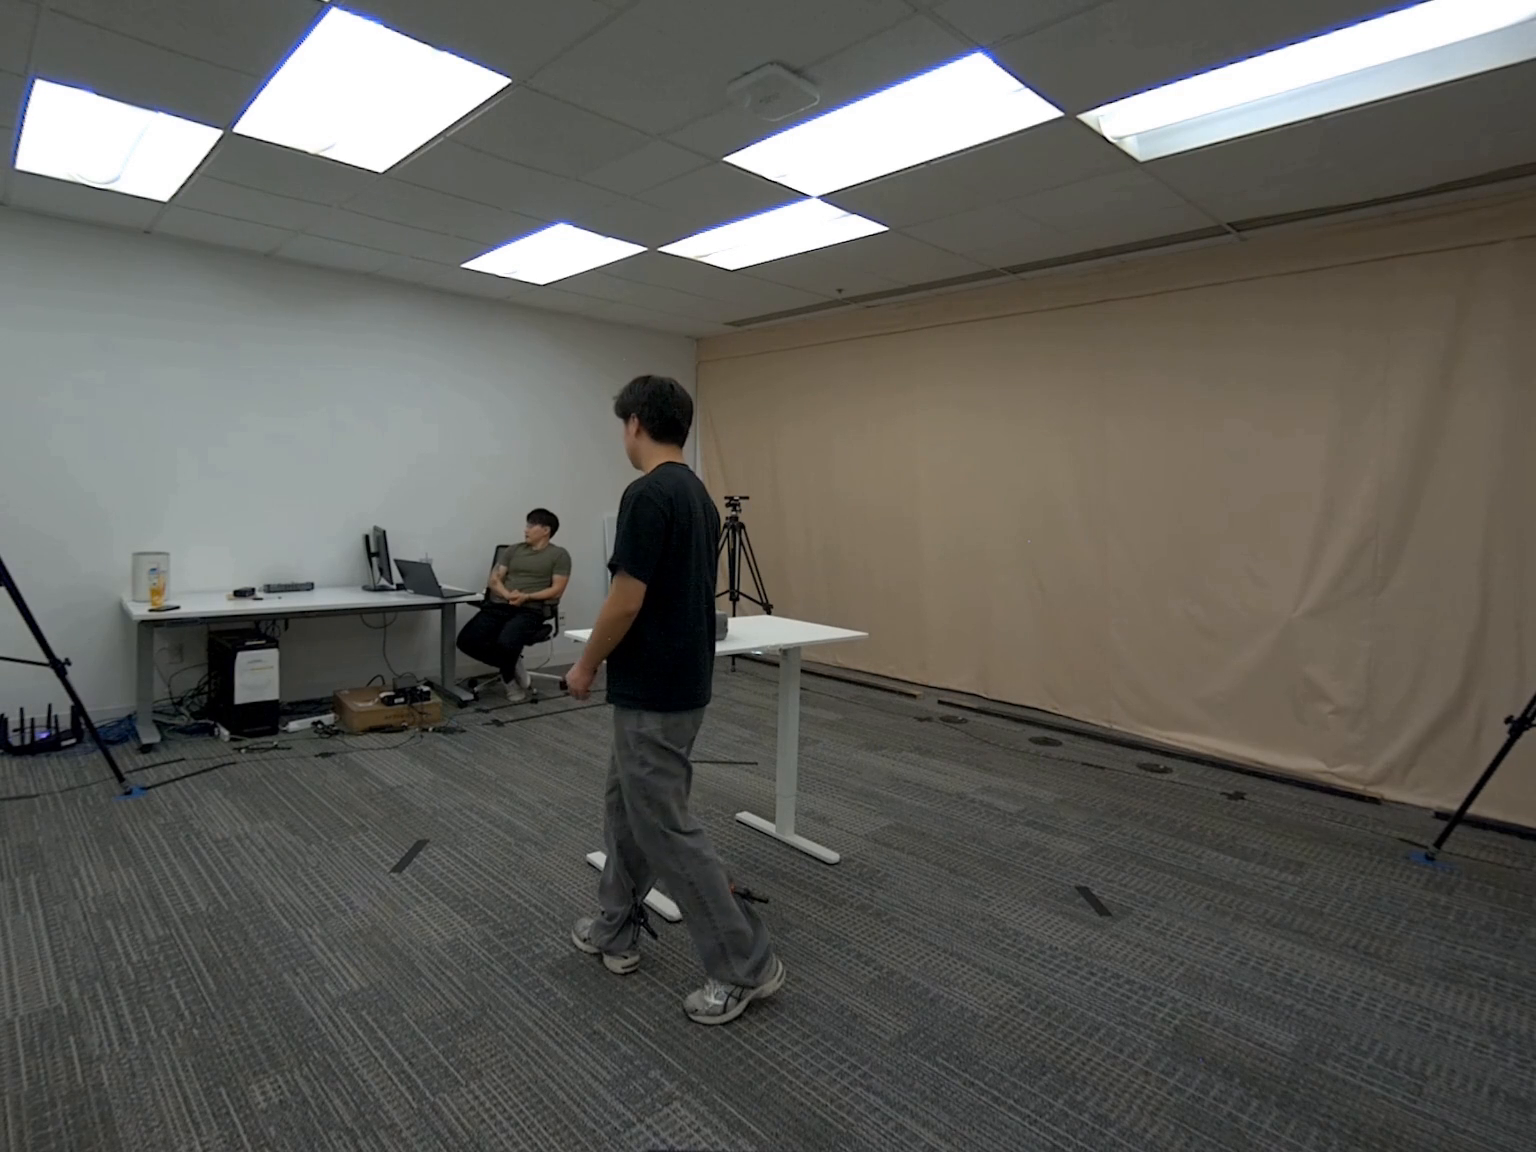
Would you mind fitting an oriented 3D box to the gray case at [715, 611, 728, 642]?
[{"bbox_3d":[-0.301,0.173,3.023,0.270,0.103,0.280,6,6,43],"label":"gray case"}]
